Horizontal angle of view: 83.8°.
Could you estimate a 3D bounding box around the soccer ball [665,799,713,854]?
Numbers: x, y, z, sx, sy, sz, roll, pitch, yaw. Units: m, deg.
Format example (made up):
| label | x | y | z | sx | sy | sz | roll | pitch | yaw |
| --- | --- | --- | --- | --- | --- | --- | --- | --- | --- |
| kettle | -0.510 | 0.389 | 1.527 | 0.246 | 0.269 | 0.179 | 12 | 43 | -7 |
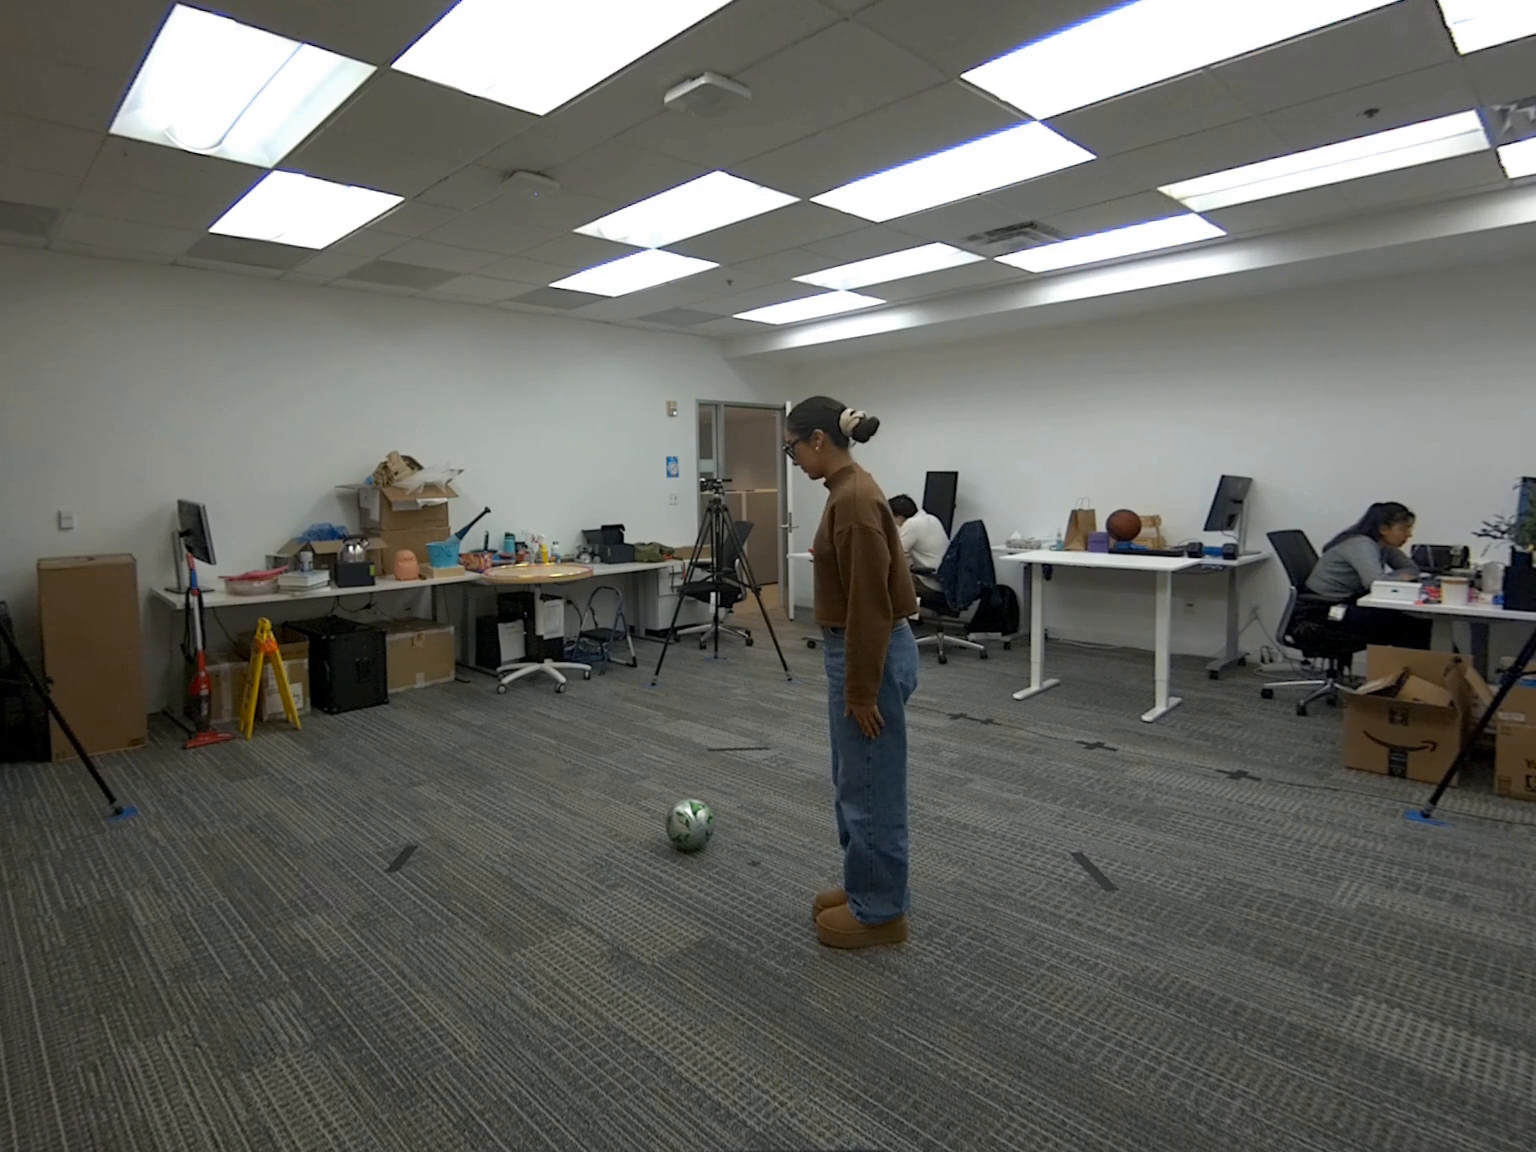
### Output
| label | x | y | z | sx | sy | sz | roll | pitch | yaw |
| --- | --- | --- | --- | --- | --- | --- | --- | --- | --- |
| soccer ball | -0.293 | 0.940 | 3.239 | 0.187 | 0.187 | 0.188 | -1 | 5 | -2 |
